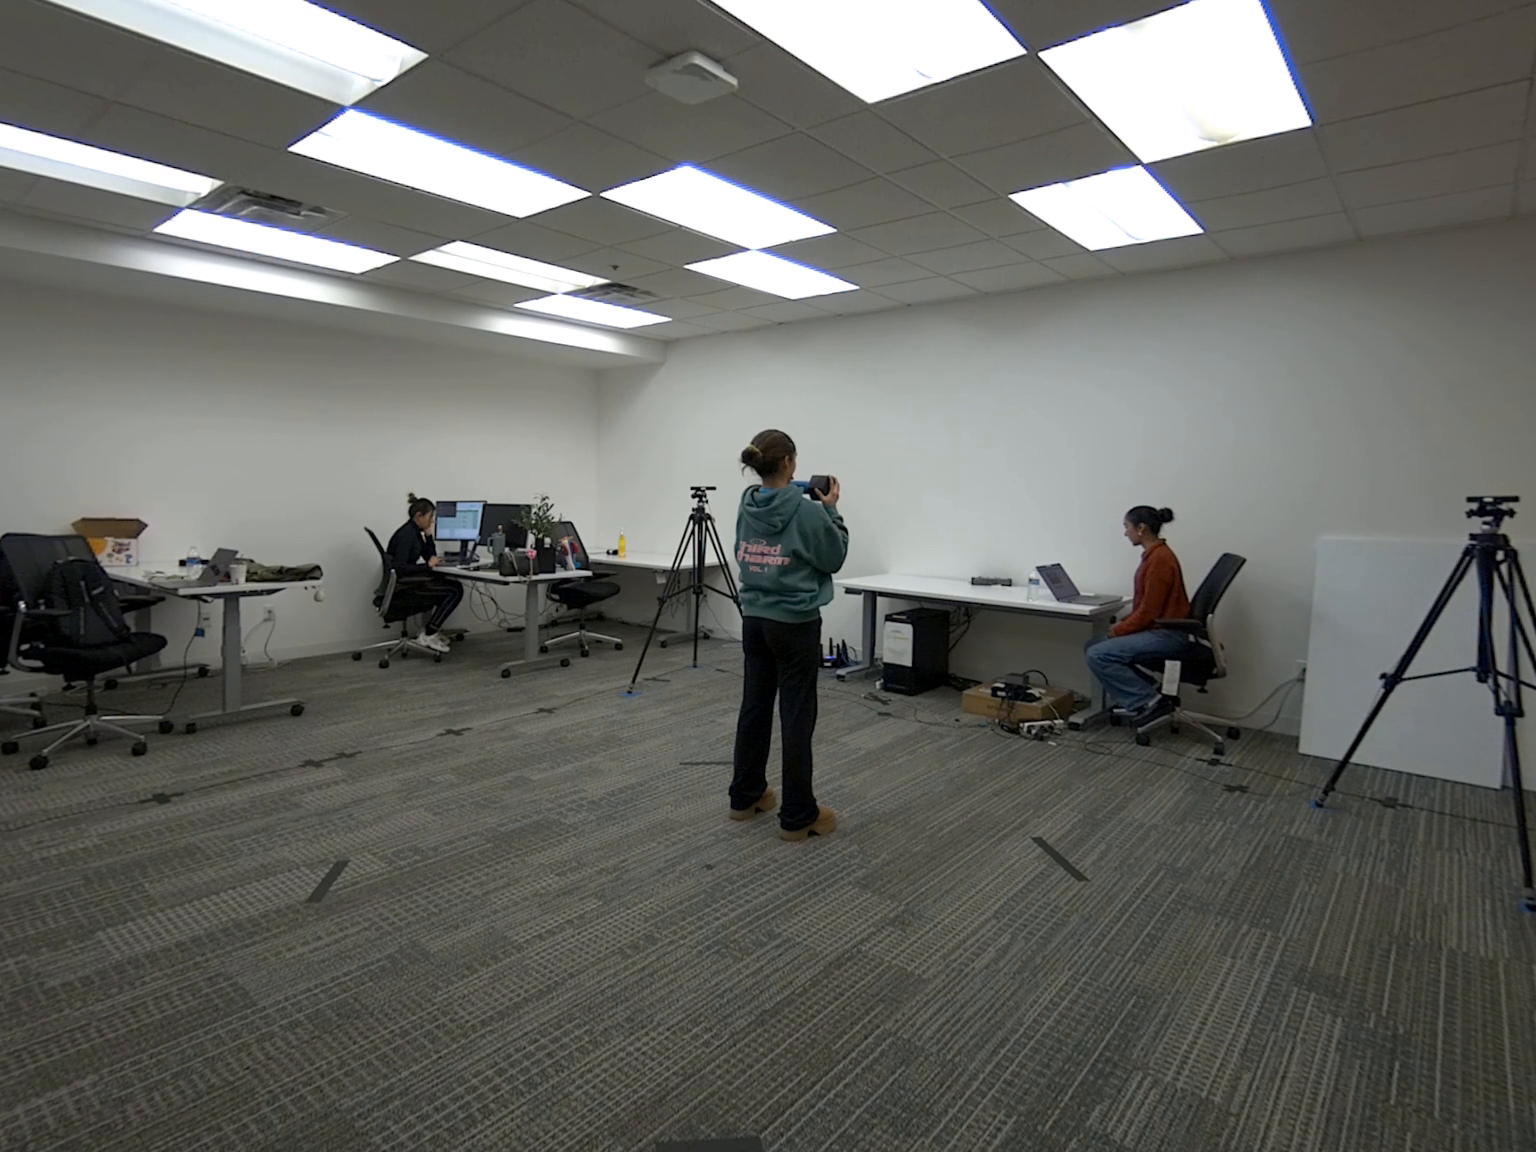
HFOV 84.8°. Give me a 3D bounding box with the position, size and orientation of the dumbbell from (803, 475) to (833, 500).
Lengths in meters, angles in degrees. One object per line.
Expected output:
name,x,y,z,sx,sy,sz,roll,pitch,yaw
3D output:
dumbbell,0.129,-0.377,3.600,0.304,0.124,0.104,9,-21,42
